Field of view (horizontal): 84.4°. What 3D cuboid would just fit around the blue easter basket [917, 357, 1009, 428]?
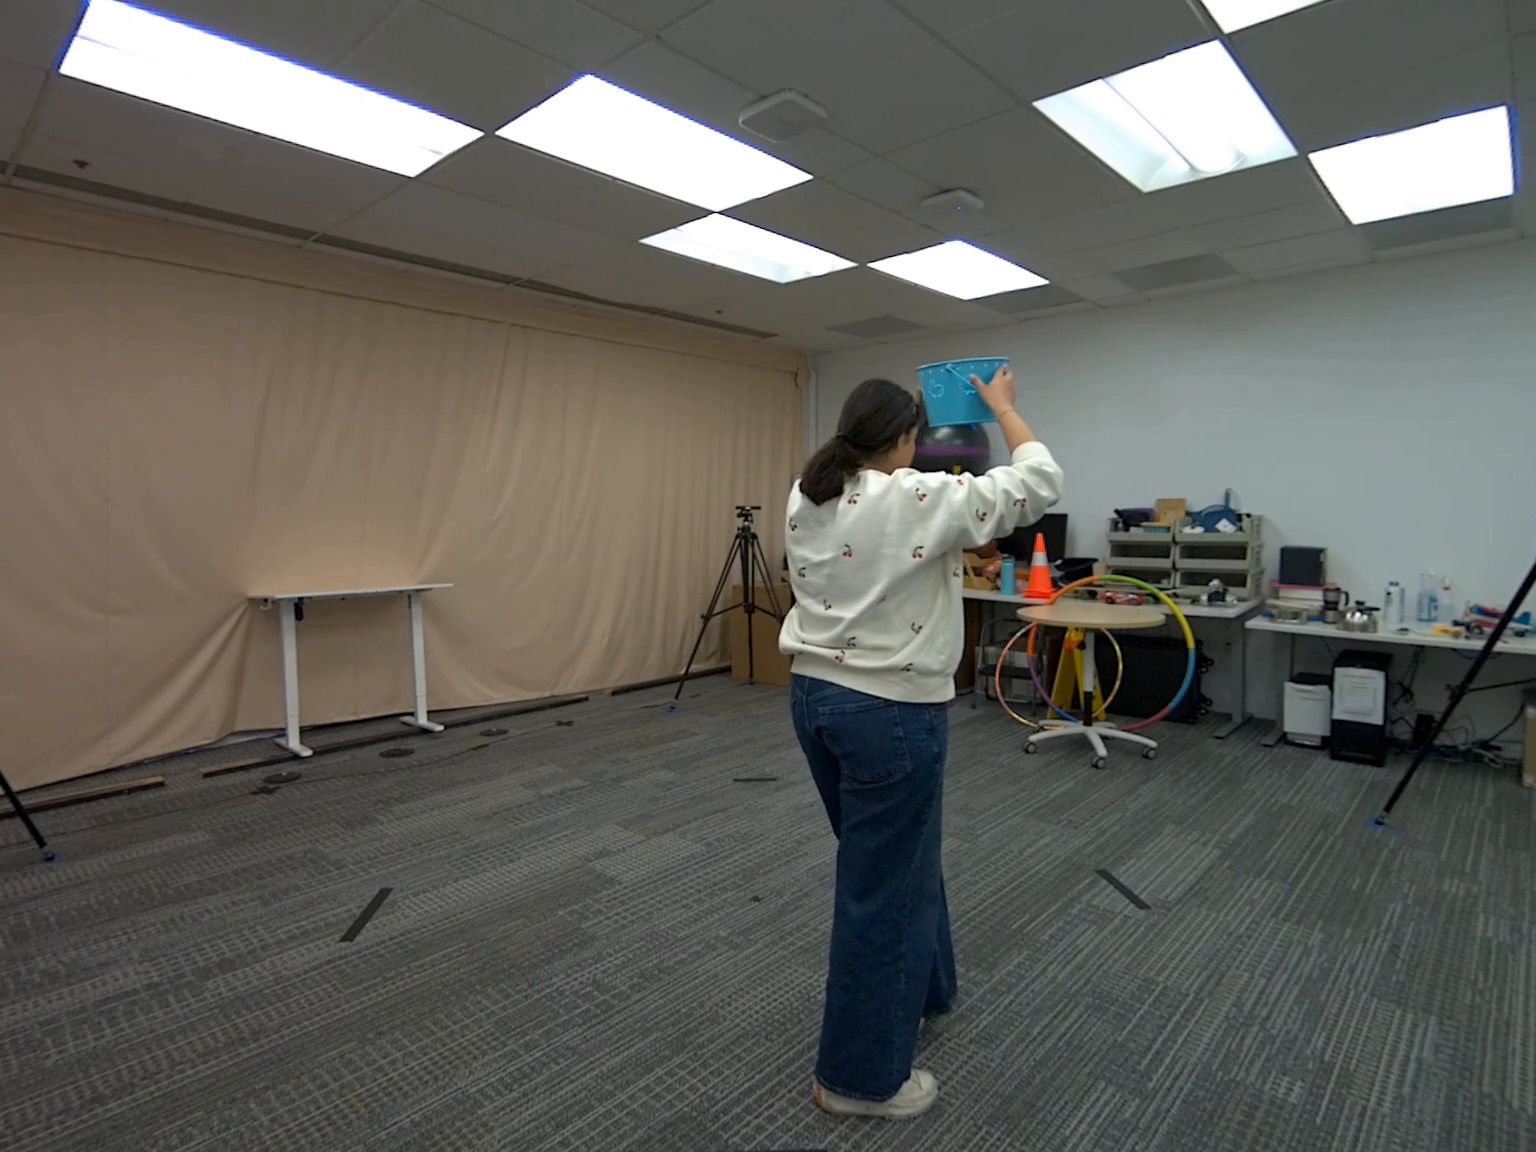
[{"bbox_3d":[0.521,-0.470,2.146,0.243,0.155,0.245,-5,7,-1],"label":"blue easter basket"}]
